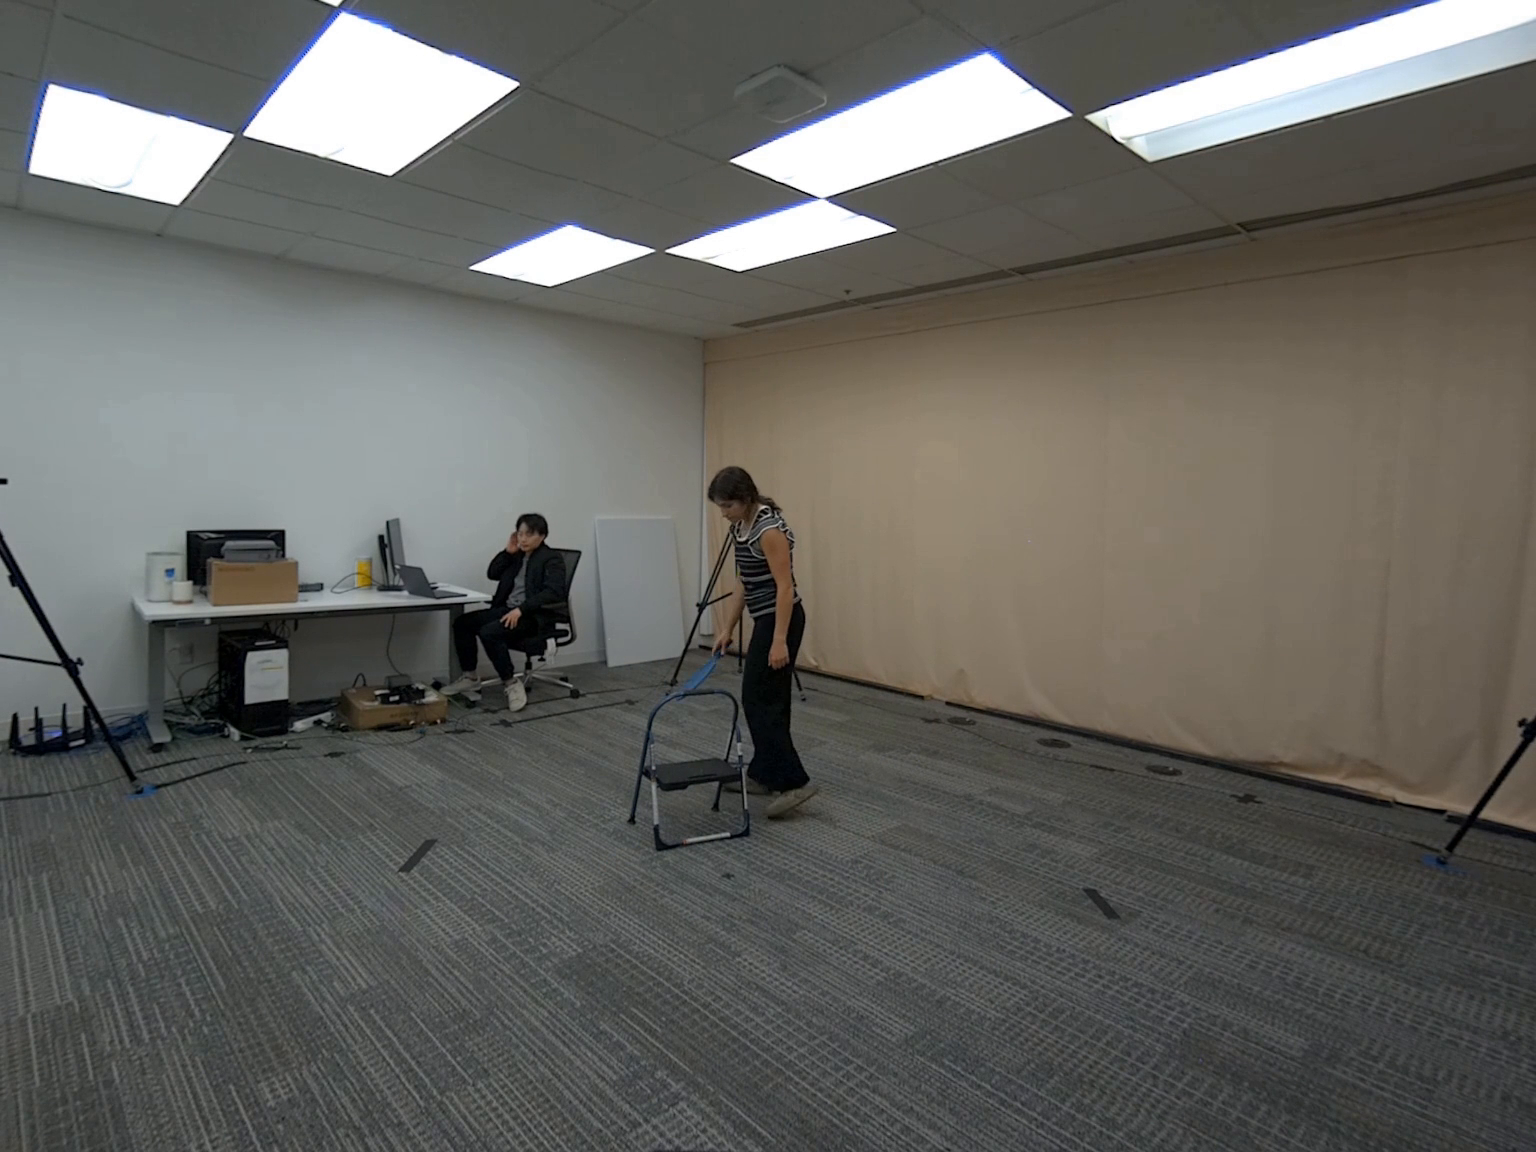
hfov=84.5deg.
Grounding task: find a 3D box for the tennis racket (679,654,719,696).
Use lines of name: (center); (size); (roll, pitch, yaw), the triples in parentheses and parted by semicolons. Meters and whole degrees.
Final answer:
tennis racket: (-0.290, 0.427, 3.891); (0.215, 0.031, 0.433); (-35, 11, 48)
